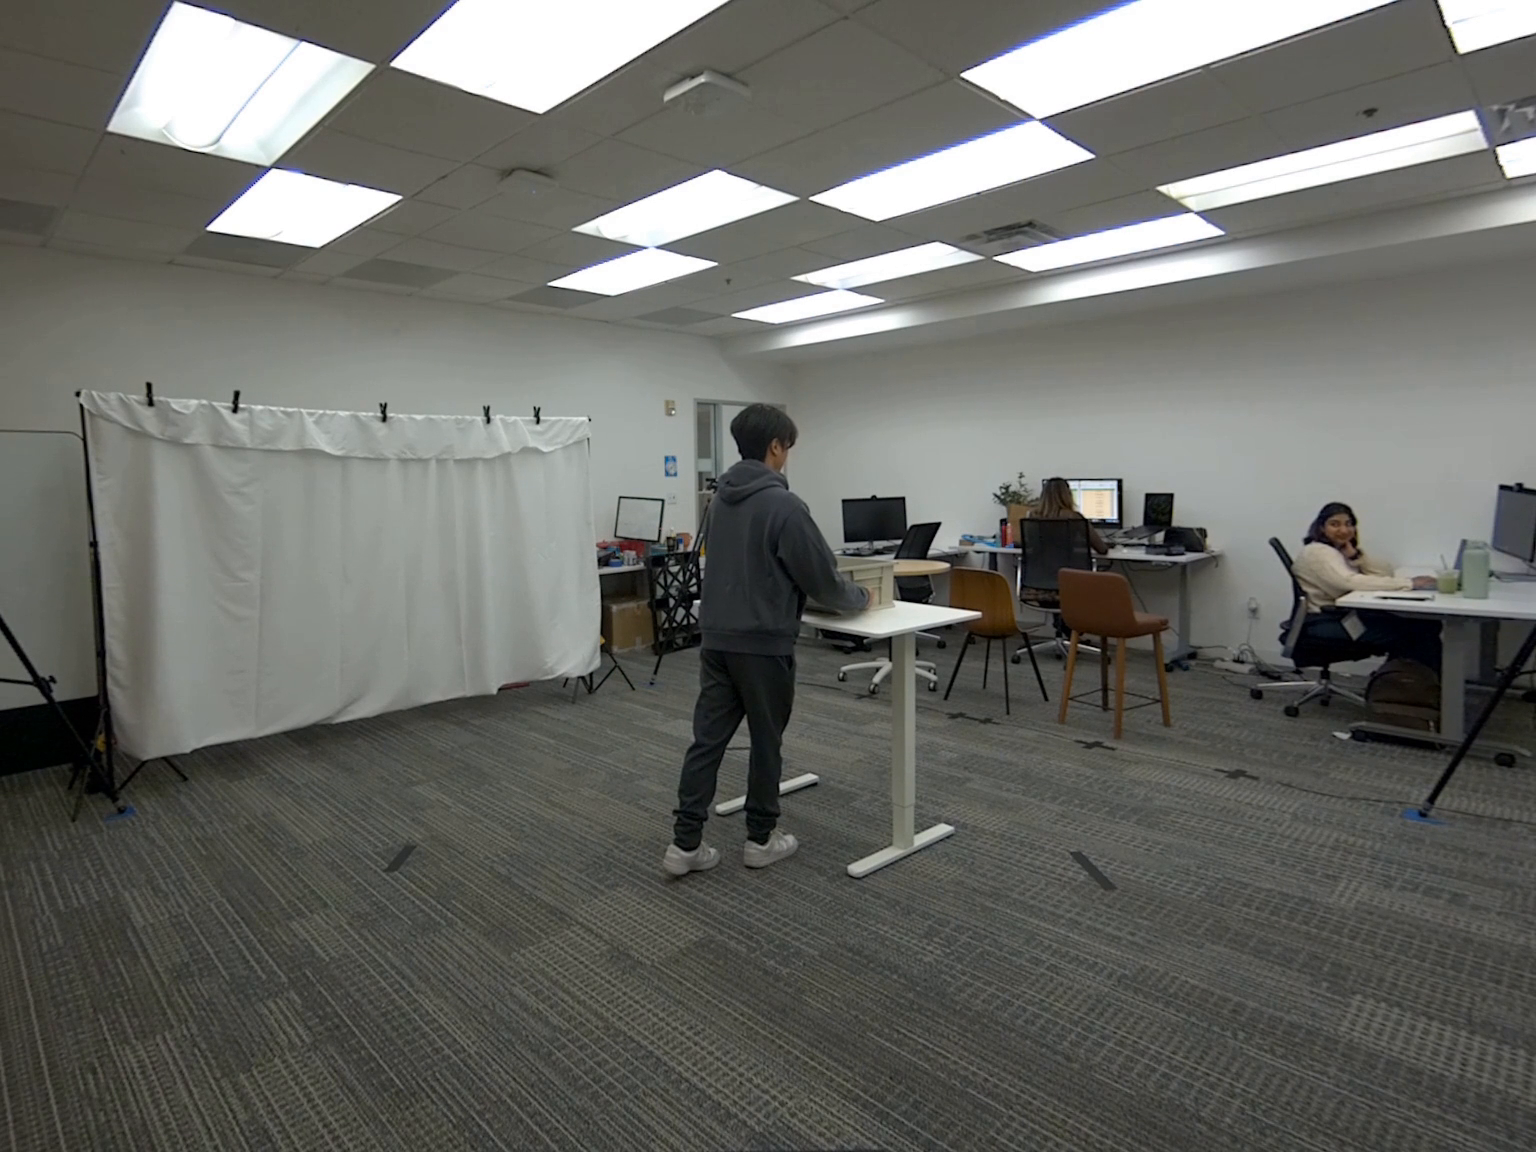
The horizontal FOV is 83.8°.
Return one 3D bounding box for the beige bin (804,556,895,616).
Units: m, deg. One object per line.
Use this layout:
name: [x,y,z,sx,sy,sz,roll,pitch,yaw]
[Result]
beige bin: [0.242,0.033,3.399,0.367,0.188,0.435,-6,8,-41]
